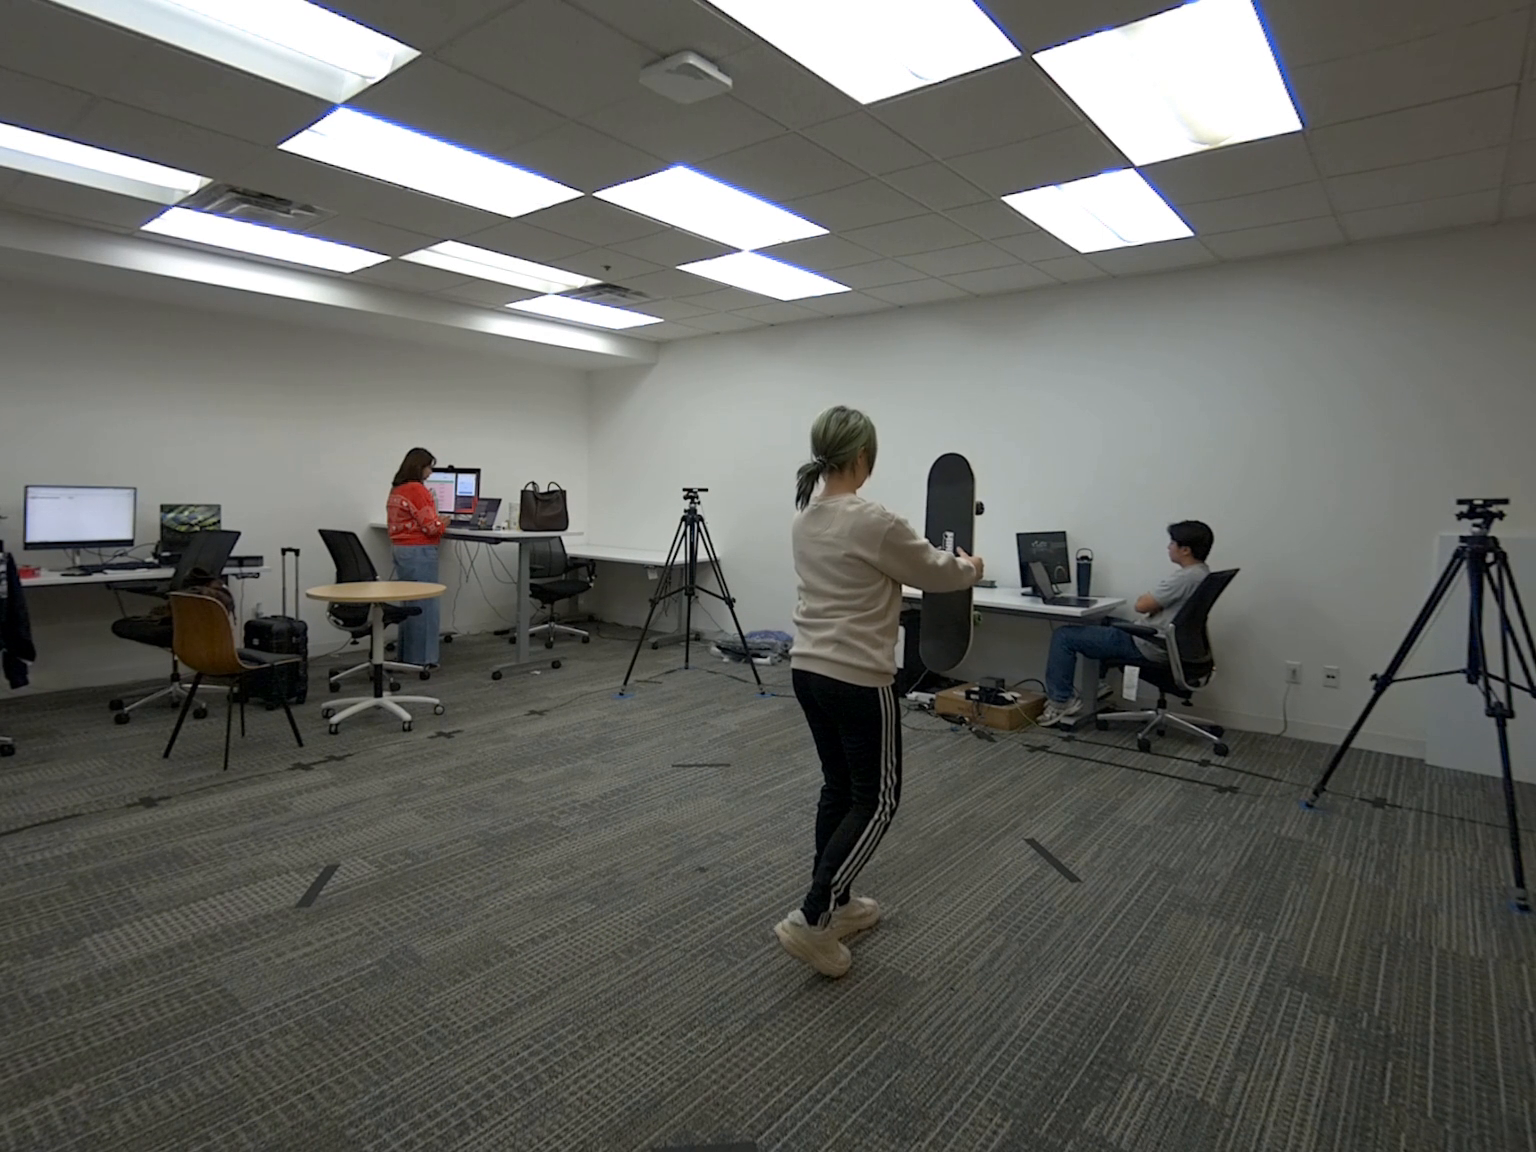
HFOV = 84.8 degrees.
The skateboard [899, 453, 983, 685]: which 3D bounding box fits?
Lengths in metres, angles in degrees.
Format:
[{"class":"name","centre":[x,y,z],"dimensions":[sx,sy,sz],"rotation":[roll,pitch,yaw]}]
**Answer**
[{"class":"skateboard","centre":[0.635,-0.048,2.968],"dimensions":[0.199,0.796,0.106],"rotation":[-8,-22,42]}]
